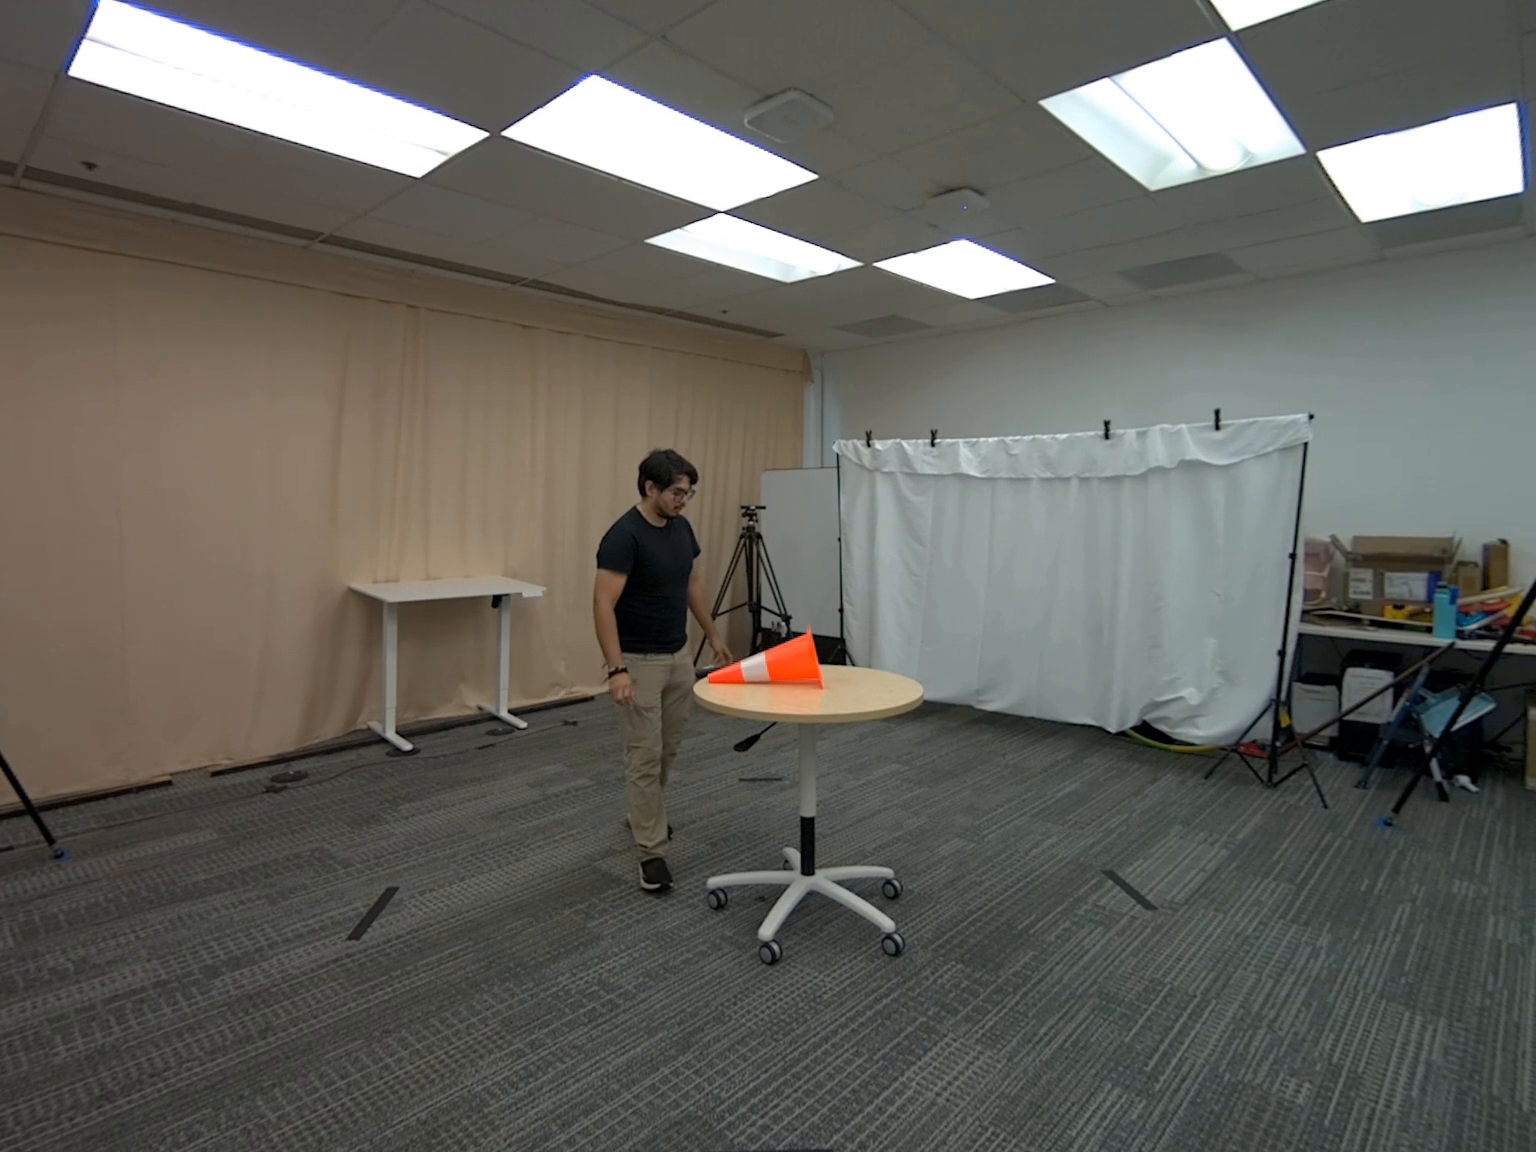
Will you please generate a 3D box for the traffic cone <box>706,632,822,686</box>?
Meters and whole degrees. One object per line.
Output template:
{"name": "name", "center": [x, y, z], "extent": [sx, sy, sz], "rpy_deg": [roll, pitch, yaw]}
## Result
{"name": "traffic cone", "center": [-0.024, 0.327, 2.886], "extent": [0.384, 0.201, 0.207], "rpy_deg": [-15, 12, 2]}
